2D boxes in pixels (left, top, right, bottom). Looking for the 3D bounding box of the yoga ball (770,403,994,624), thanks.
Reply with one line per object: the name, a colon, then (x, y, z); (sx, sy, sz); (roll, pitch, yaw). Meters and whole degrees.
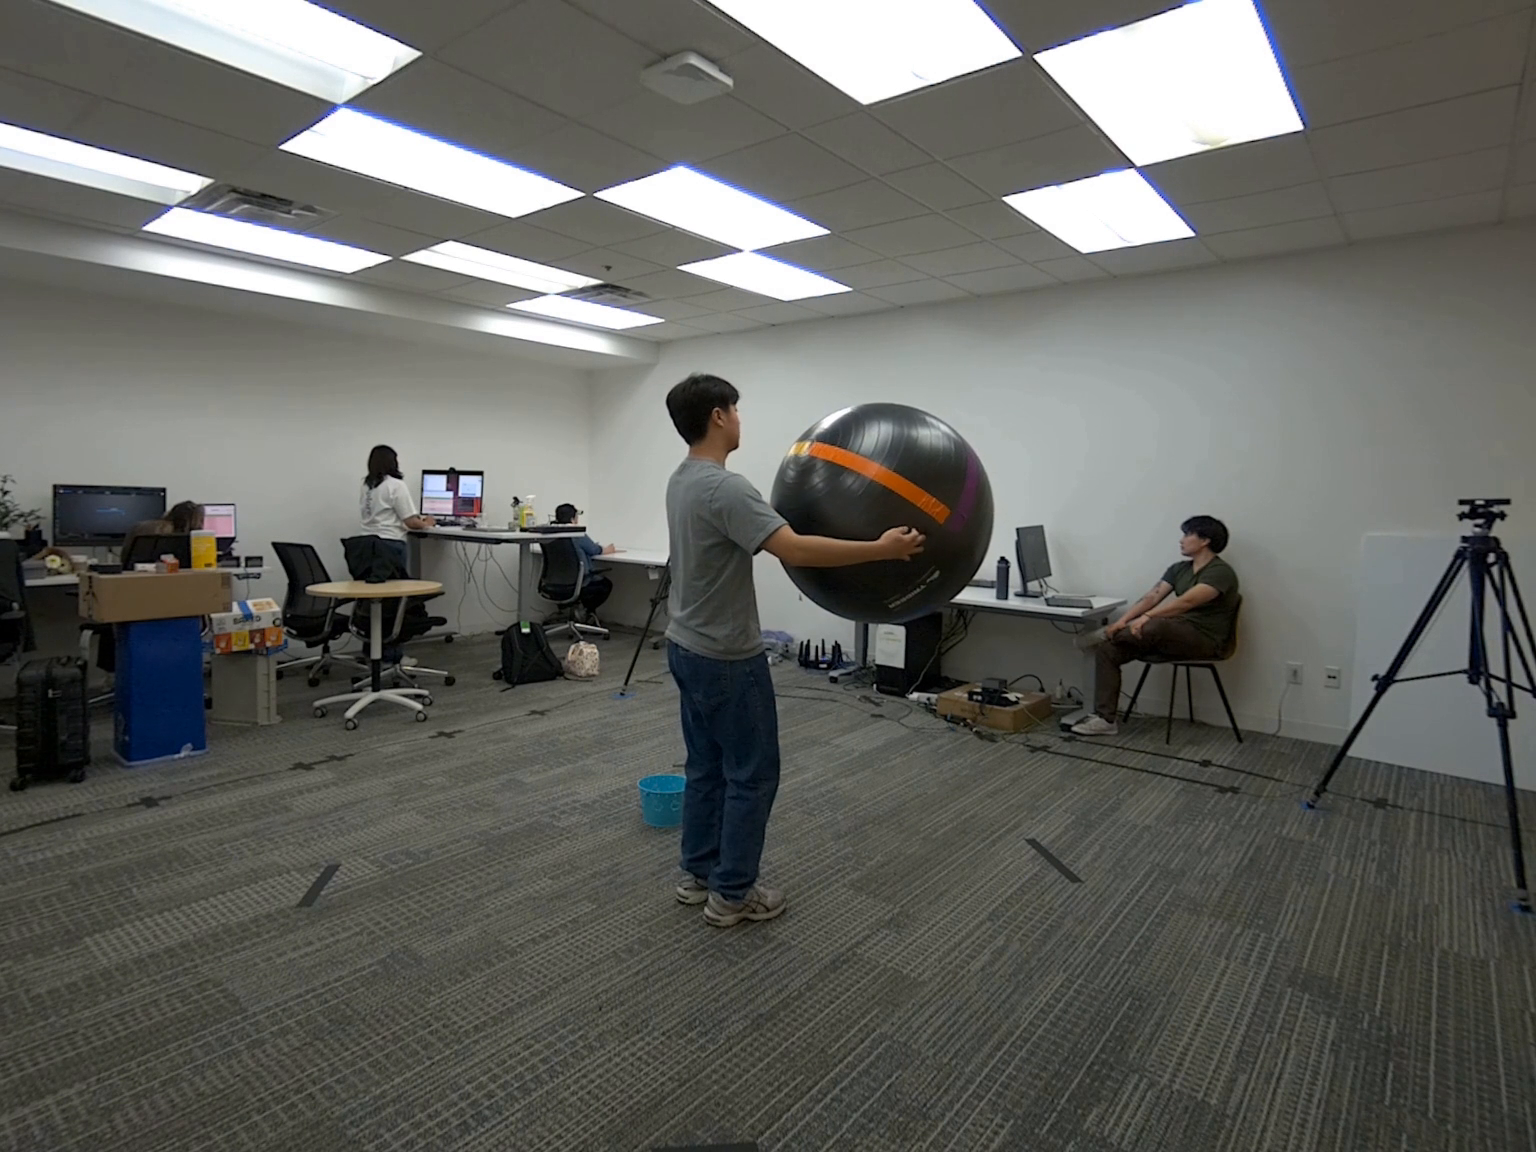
yoga ball: (0.375, -0.210, 2.936); (0.757, 0.756, 0.761); (1, 4, -2)
